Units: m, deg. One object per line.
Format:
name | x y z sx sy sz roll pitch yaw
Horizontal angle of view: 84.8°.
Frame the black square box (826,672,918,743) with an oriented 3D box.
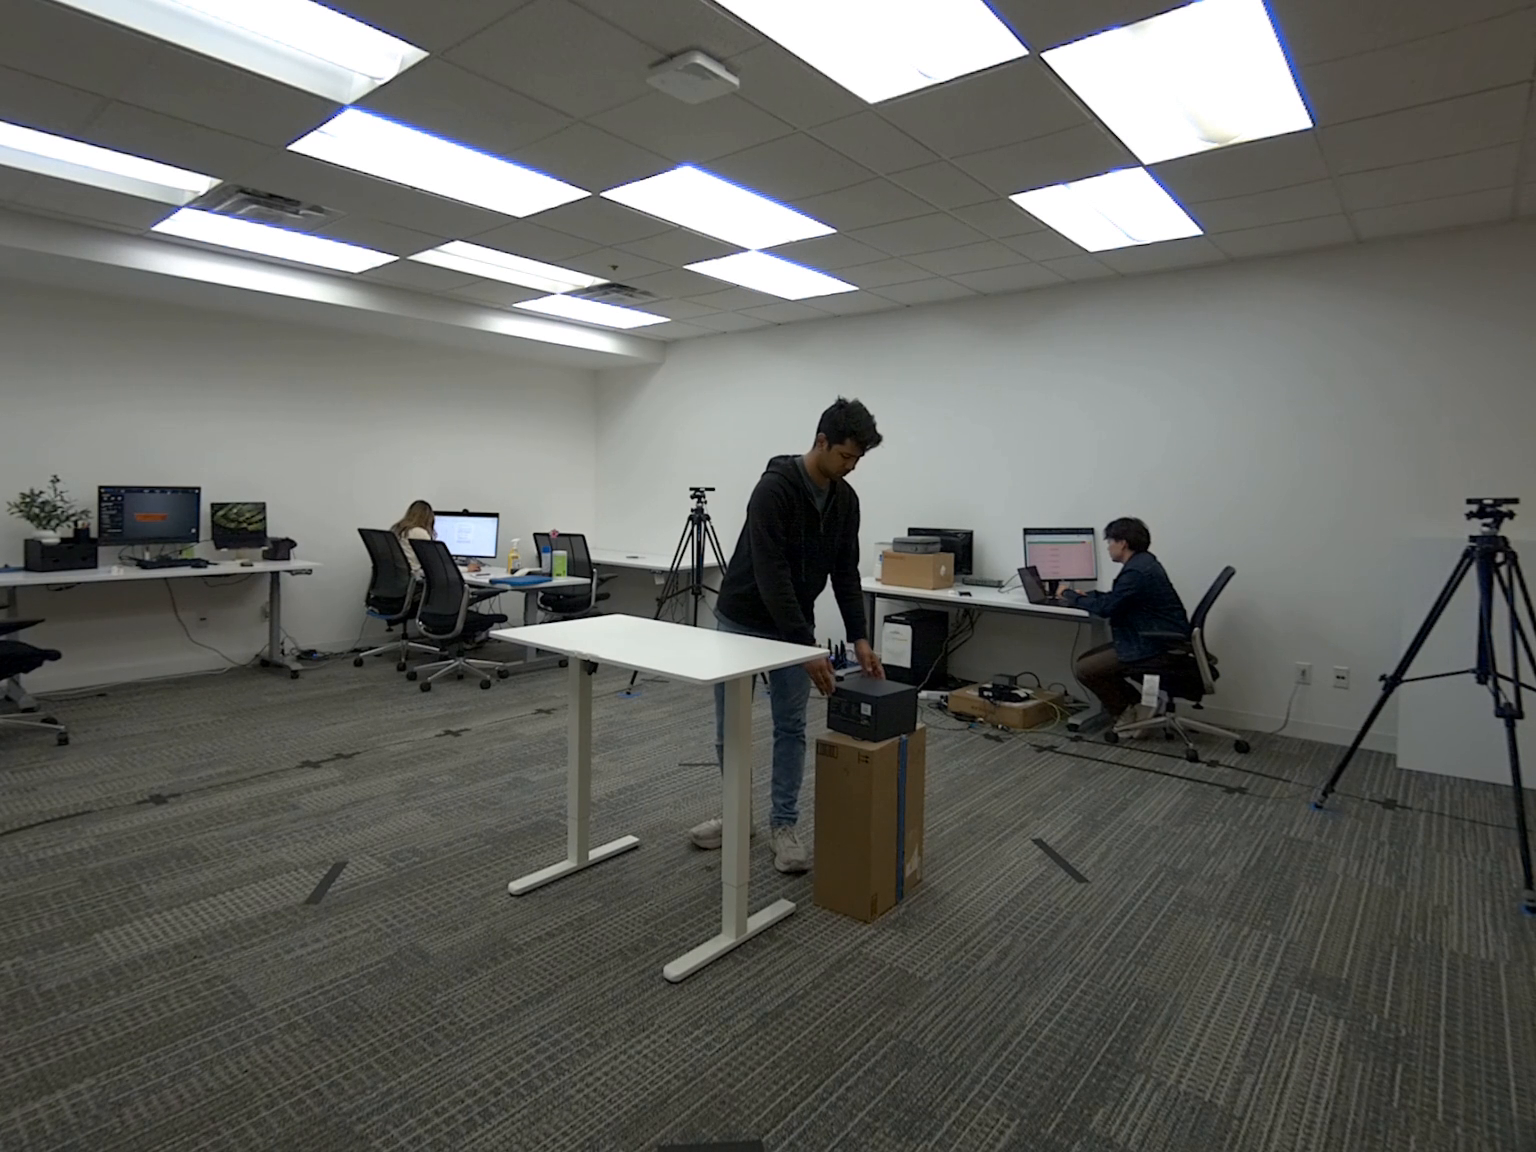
black square box | 0.355 0.453 2.931 0.221 0.155 0.224 -4 6 -44
